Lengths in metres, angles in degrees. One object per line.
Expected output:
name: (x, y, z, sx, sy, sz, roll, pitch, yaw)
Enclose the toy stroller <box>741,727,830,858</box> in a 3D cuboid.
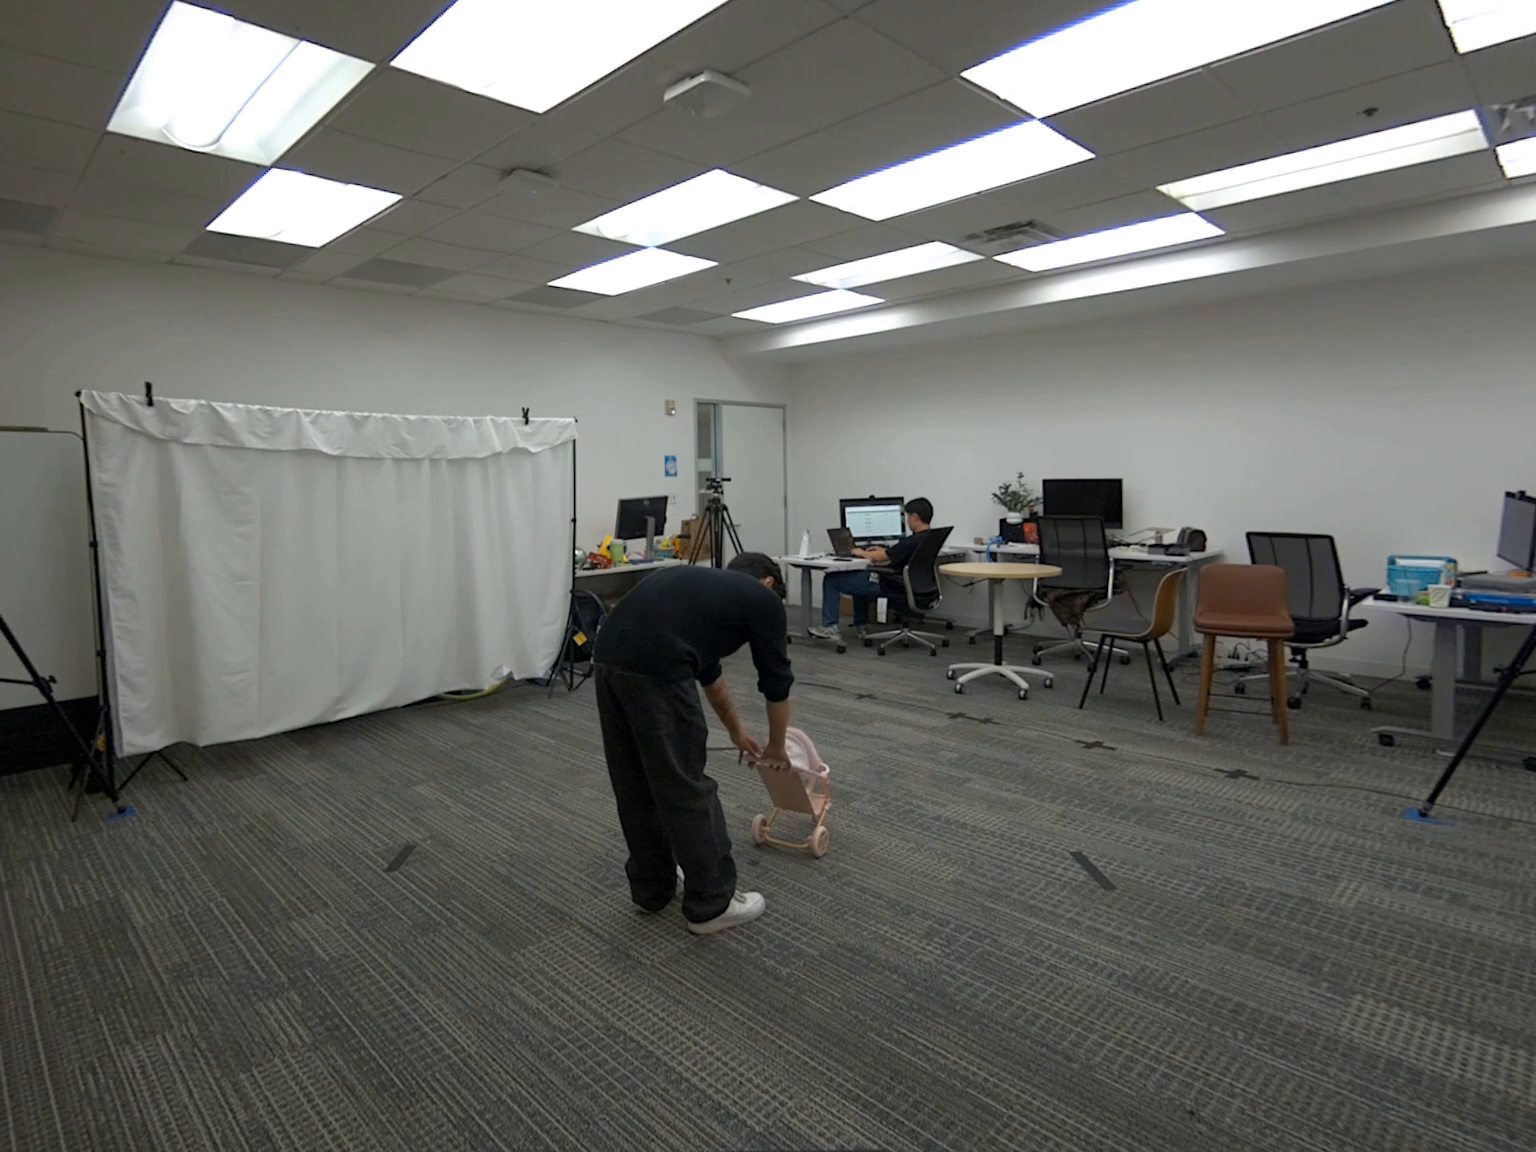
toy stroller: (0.104, 0.800, 3.244, 0.289, 0.523, 0.339, 3, 26, 32)
